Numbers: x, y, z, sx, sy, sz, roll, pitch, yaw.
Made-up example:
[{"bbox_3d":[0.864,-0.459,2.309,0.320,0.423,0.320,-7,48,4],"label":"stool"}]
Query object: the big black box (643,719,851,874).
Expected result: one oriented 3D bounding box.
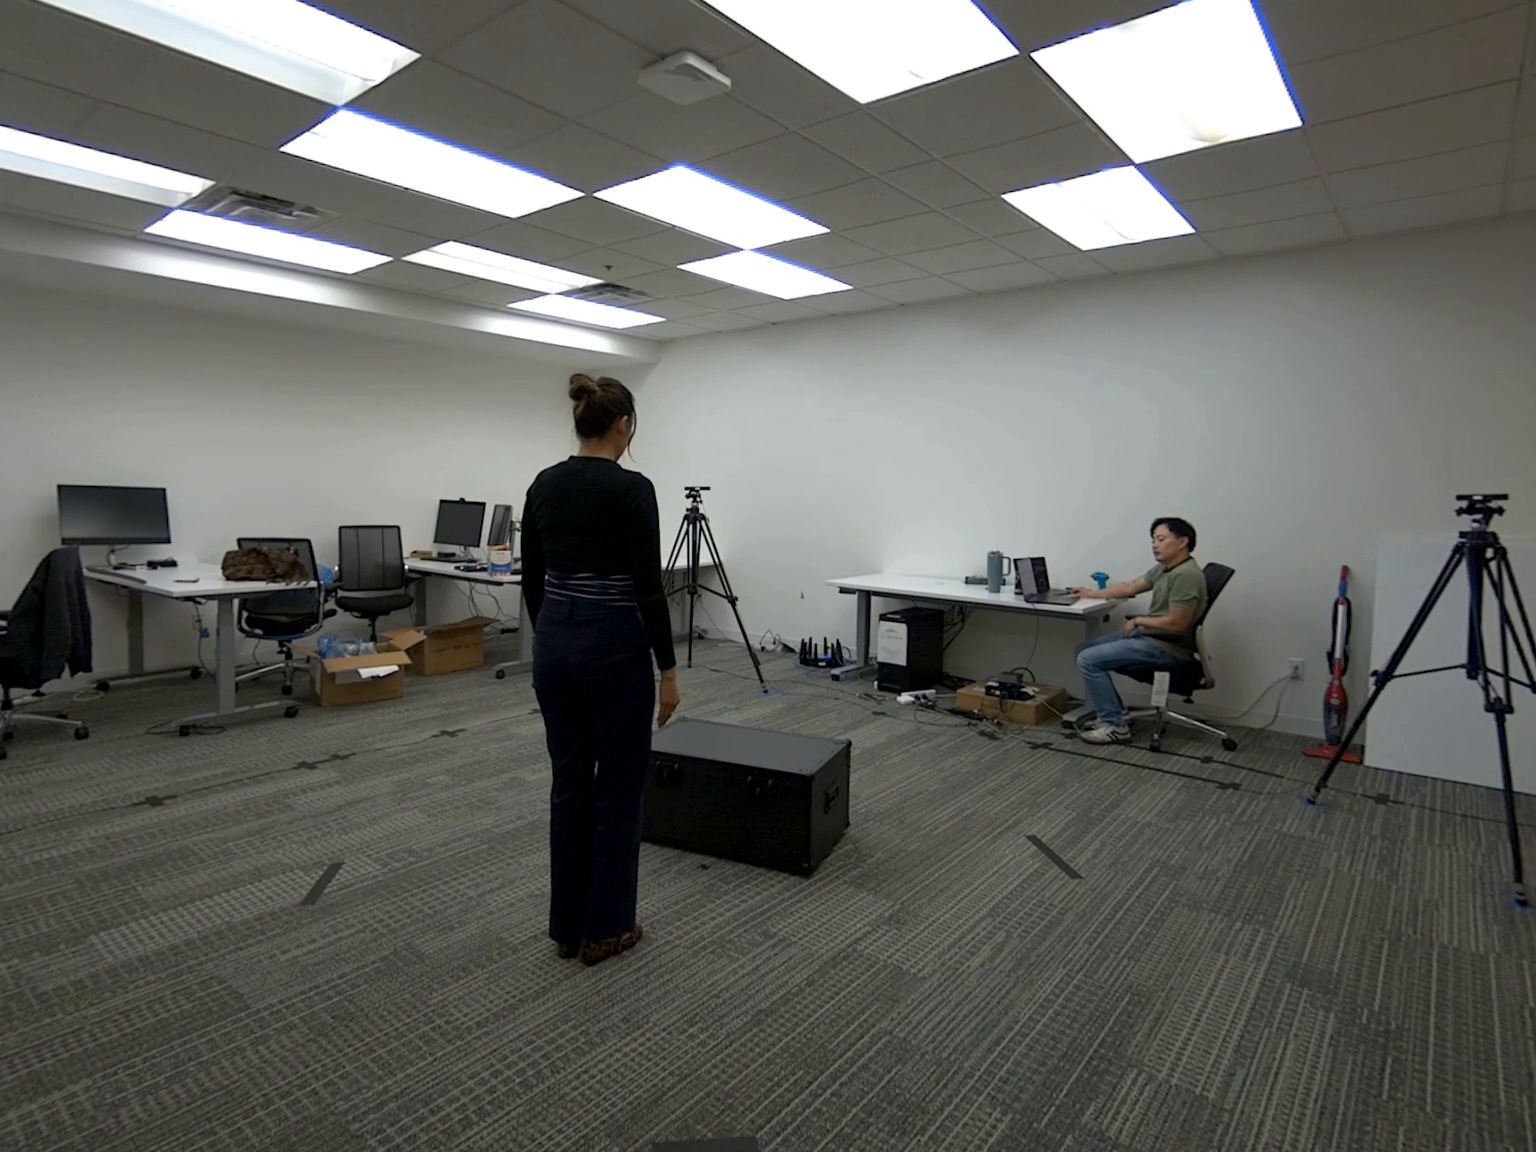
[{"bbox_3d":[-0.154,0.845,3.410,0.883,0.395,0.510,3,6,24],"label":"big black box"}]
